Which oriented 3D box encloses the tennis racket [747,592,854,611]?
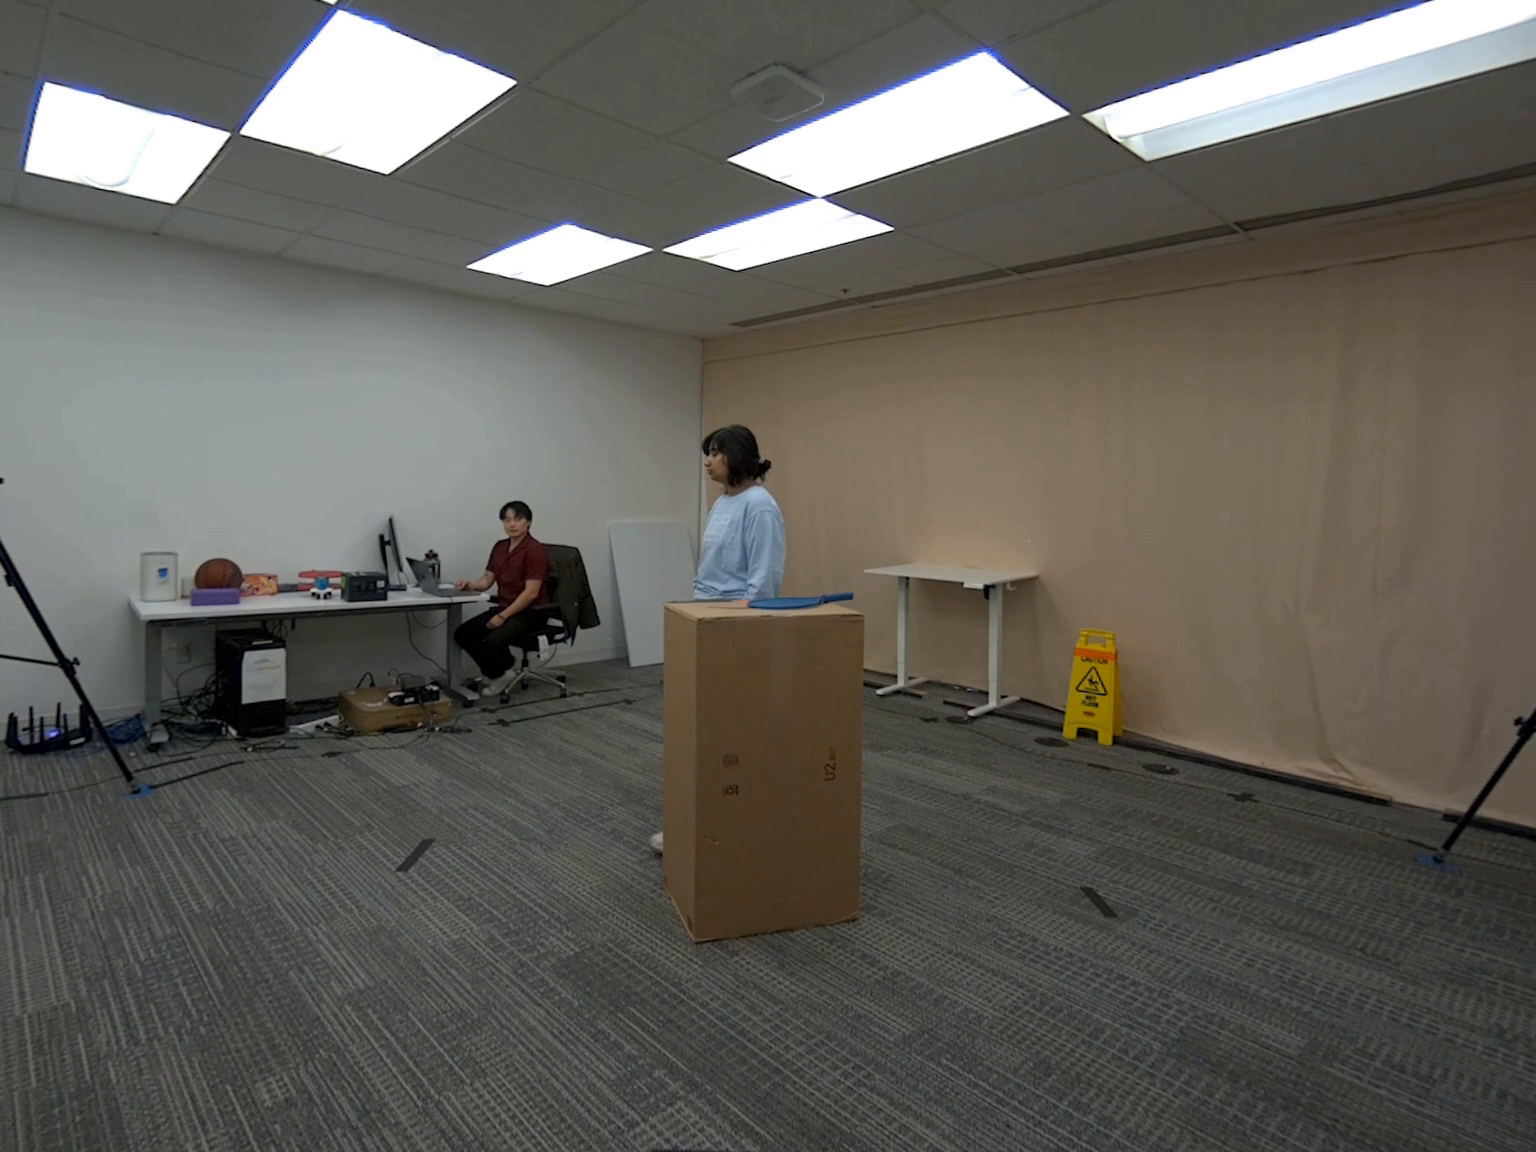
[{"bbox_3d":[0.091,0.092,2.948,0.424,0.031,0.219,-5,7,-37],"label":"tennis racket"}]
